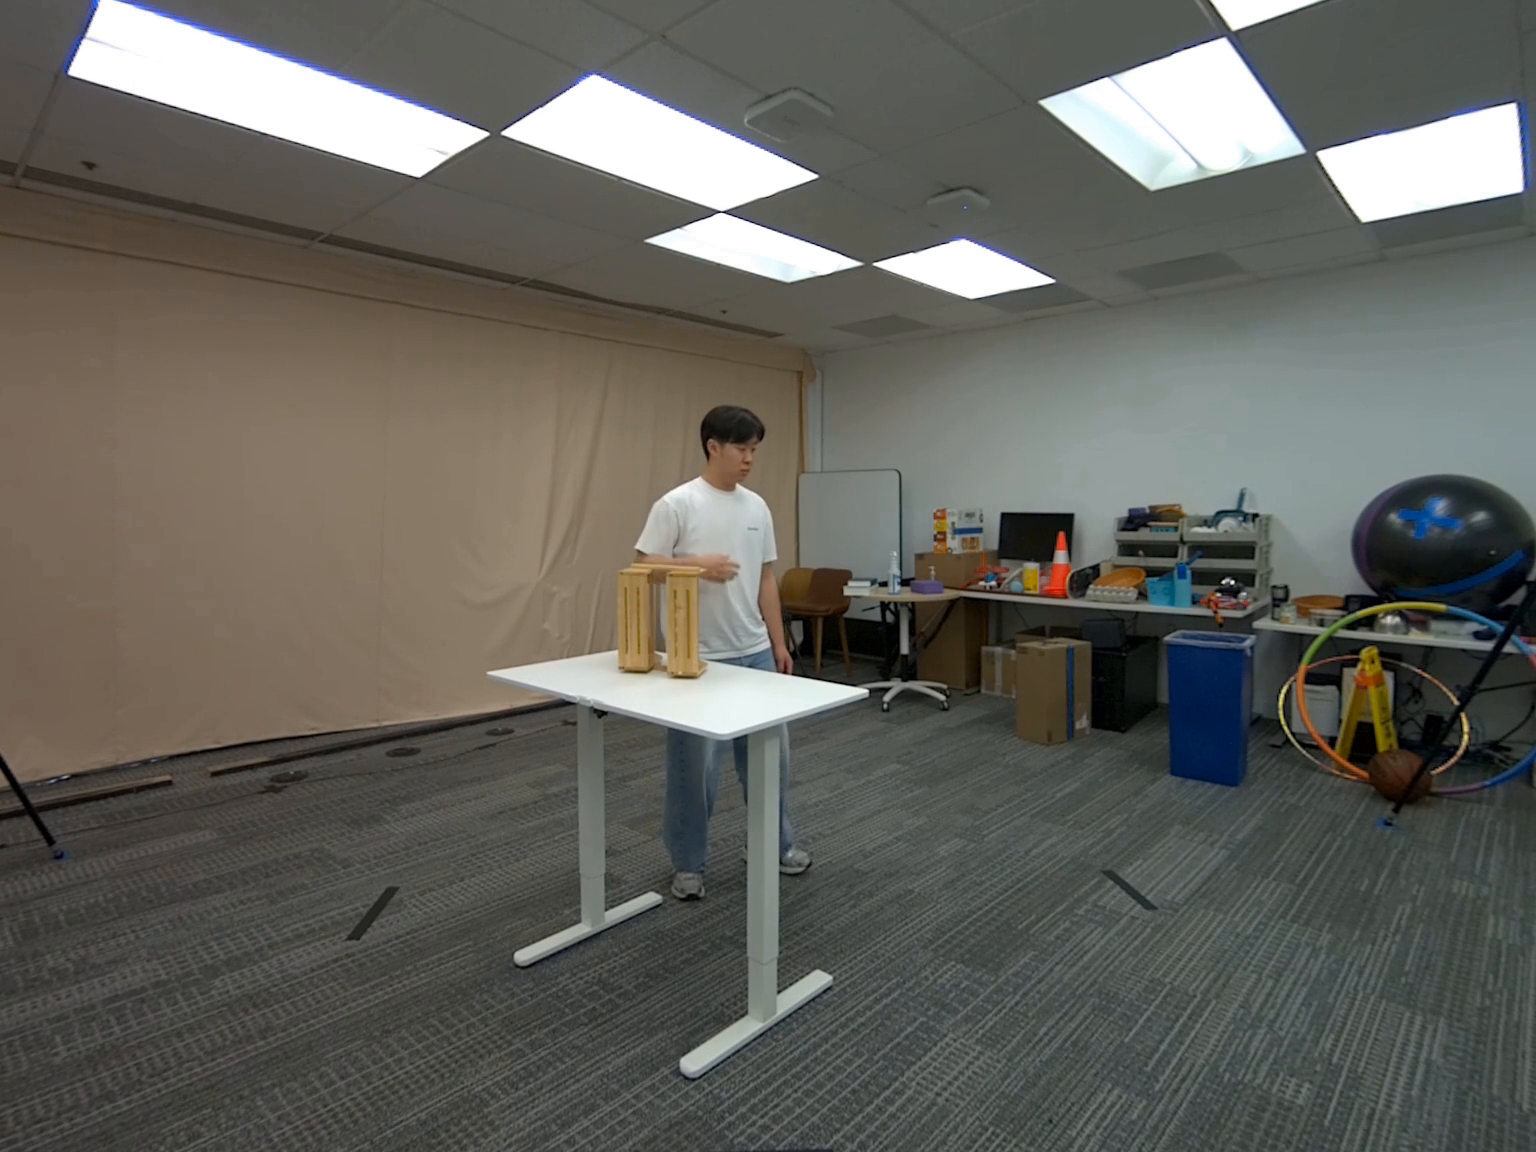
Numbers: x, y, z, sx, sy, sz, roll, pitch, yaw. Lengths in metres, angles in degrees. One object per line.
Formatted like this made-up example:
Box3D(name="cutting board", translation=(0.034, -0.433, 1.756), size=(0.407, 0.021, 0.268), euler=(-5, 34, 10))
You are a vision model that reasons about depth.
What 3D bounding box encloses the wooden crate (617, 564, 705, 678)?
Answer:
Box3D(name="wooden crate", translation=(-0.314, 0.131, 2.630), size=(0.276, 0.323, 0.299), euler=(1, 5, 9))
